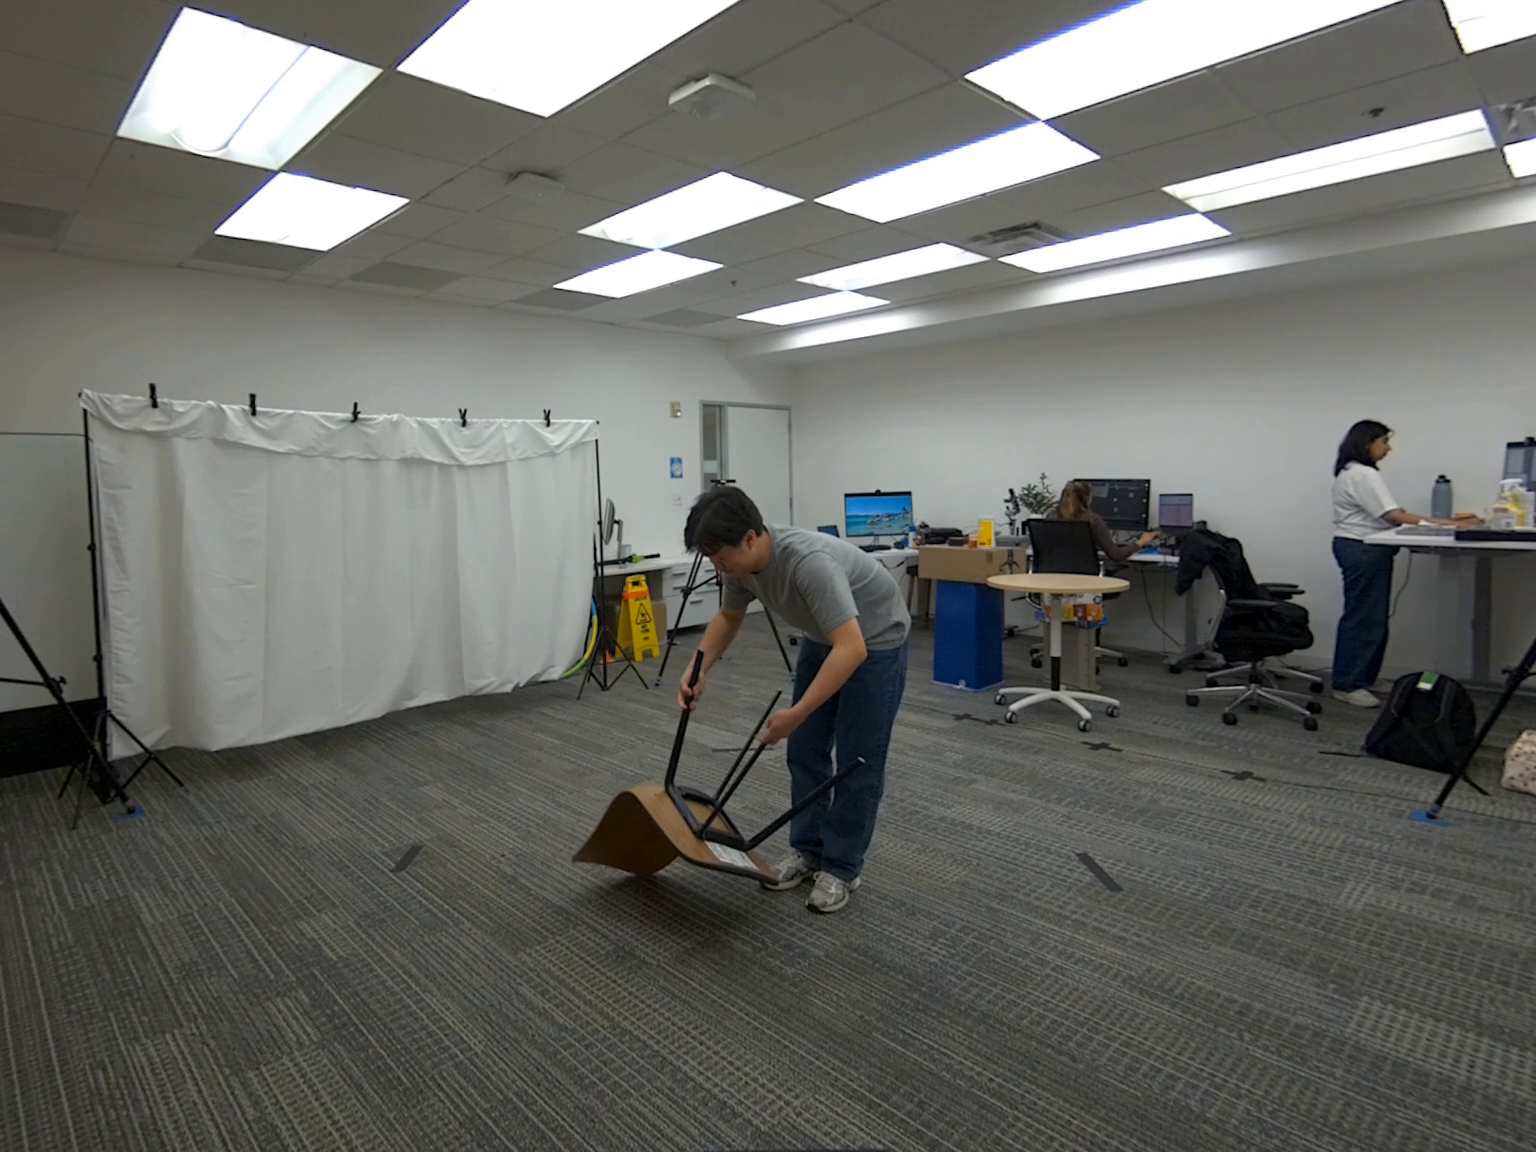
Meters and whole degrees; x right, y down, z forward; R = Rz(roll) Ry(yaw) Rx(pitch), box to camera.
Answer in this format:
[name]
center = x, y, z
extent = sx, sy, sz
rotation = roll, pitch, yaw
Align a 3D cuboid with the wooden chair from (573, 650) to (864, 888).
[wooden chair]
center = -0.190, 0.777, 2.726
extent = 0.459, 0.877, 0.544
rotation = 34, 5, -44
